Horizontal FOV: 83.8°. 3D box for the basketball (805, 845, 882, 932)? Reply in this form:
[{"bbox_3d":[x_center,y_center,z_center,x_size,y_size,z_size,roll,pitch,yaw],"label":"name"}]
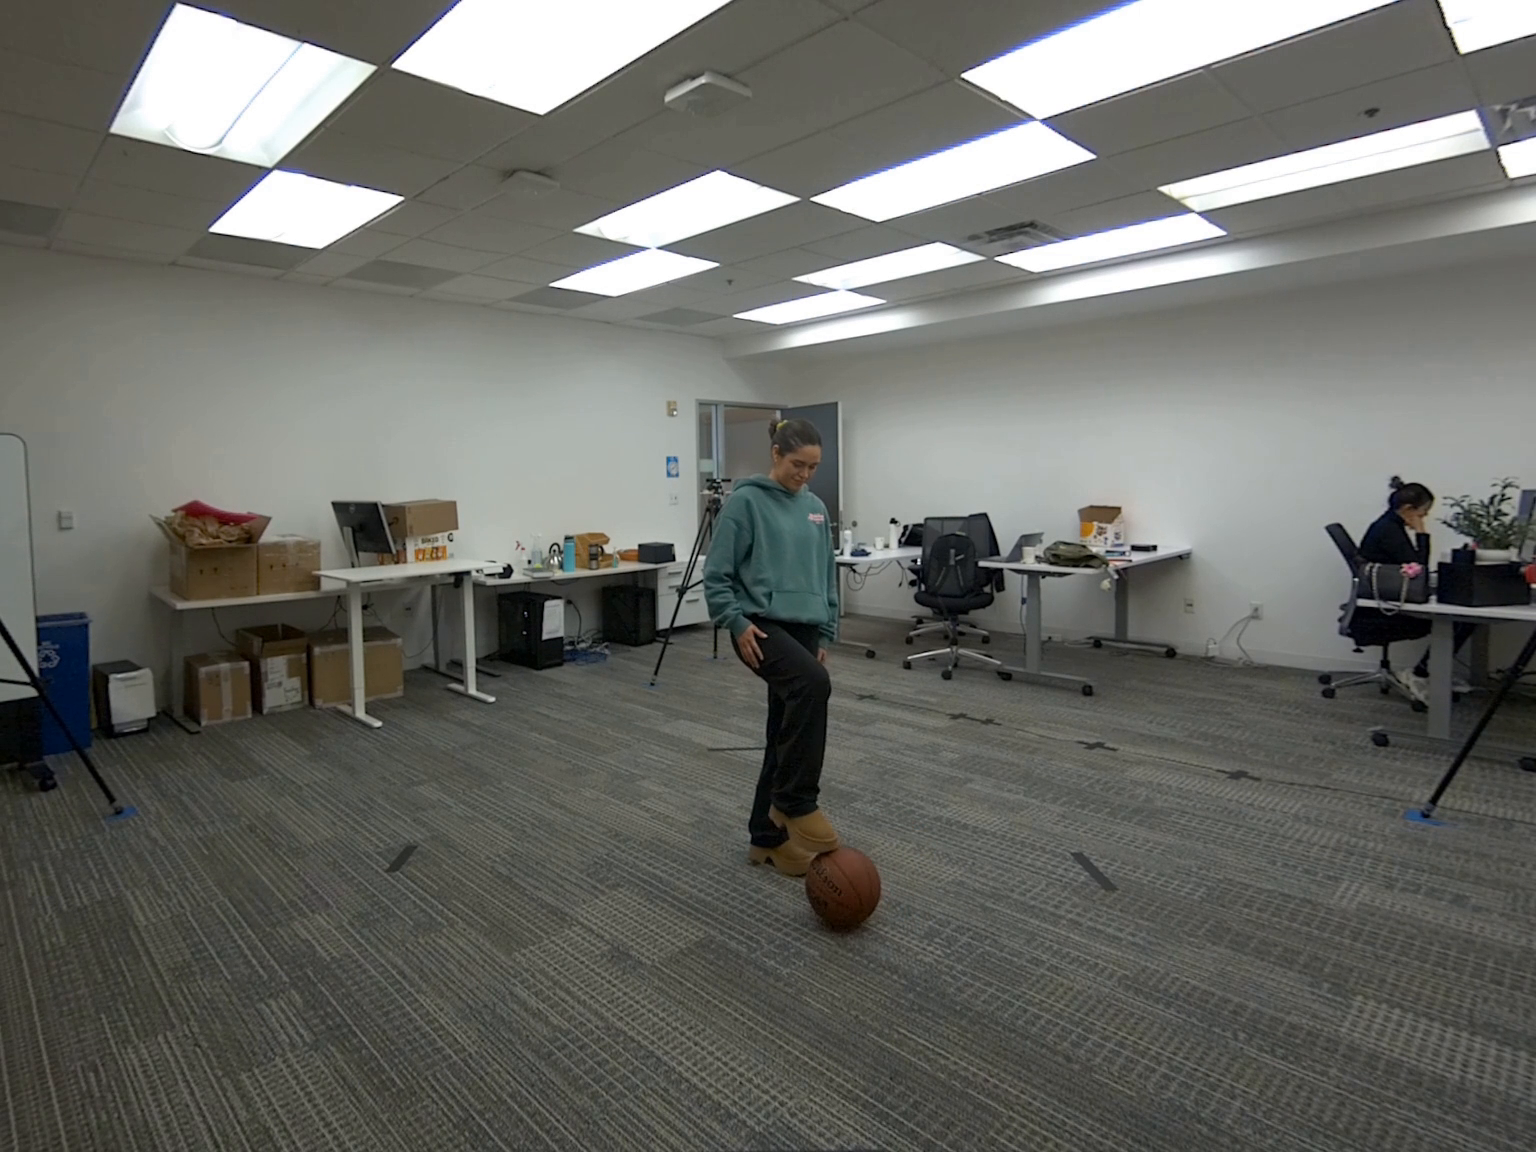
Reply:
[{"bbox_3d":[0.241,0.968,2.679,0.236,0.235,0.237,-1,5,-2],"label":"basketball"}]
